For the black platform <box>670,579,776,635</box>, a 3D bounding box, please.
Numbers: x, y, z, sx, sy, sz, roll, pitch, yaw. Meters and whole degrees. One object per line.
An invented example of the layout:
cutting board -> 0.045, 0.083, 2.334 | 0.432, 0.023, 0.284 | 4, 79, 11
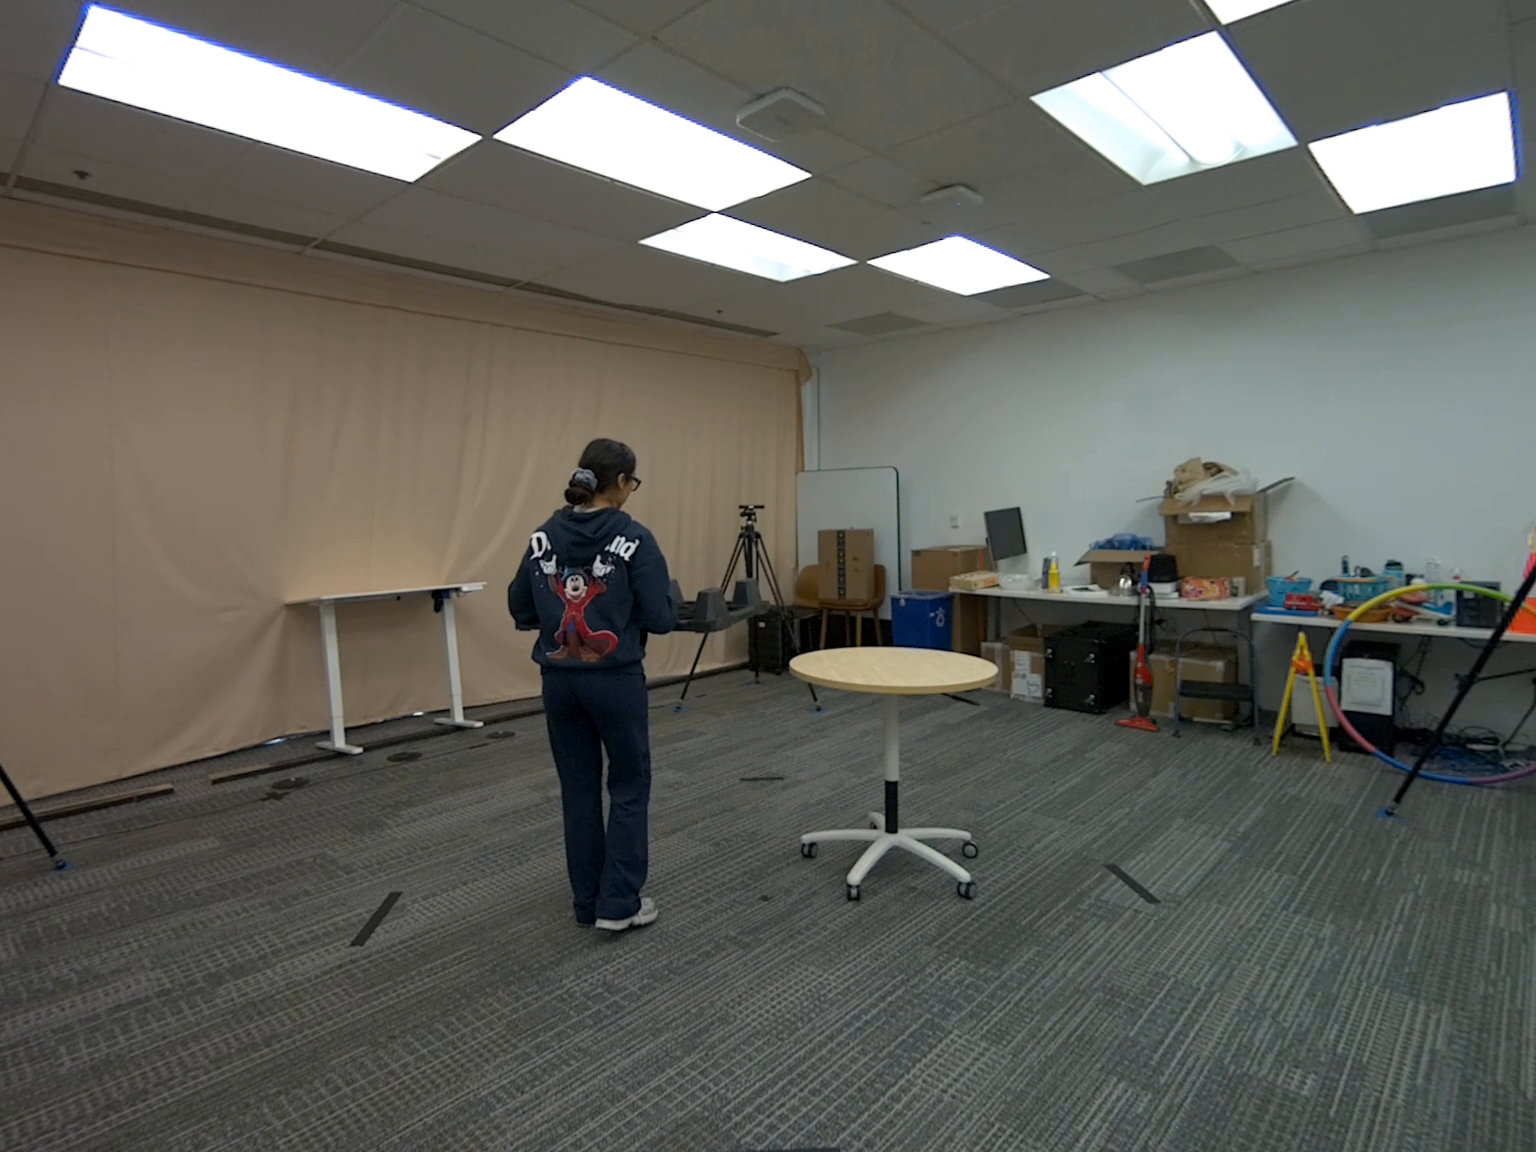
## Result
black platform -> -0.446, 0.100, 3.200 | 0.823, 0.143, 0.594 | 0, 6, 21
